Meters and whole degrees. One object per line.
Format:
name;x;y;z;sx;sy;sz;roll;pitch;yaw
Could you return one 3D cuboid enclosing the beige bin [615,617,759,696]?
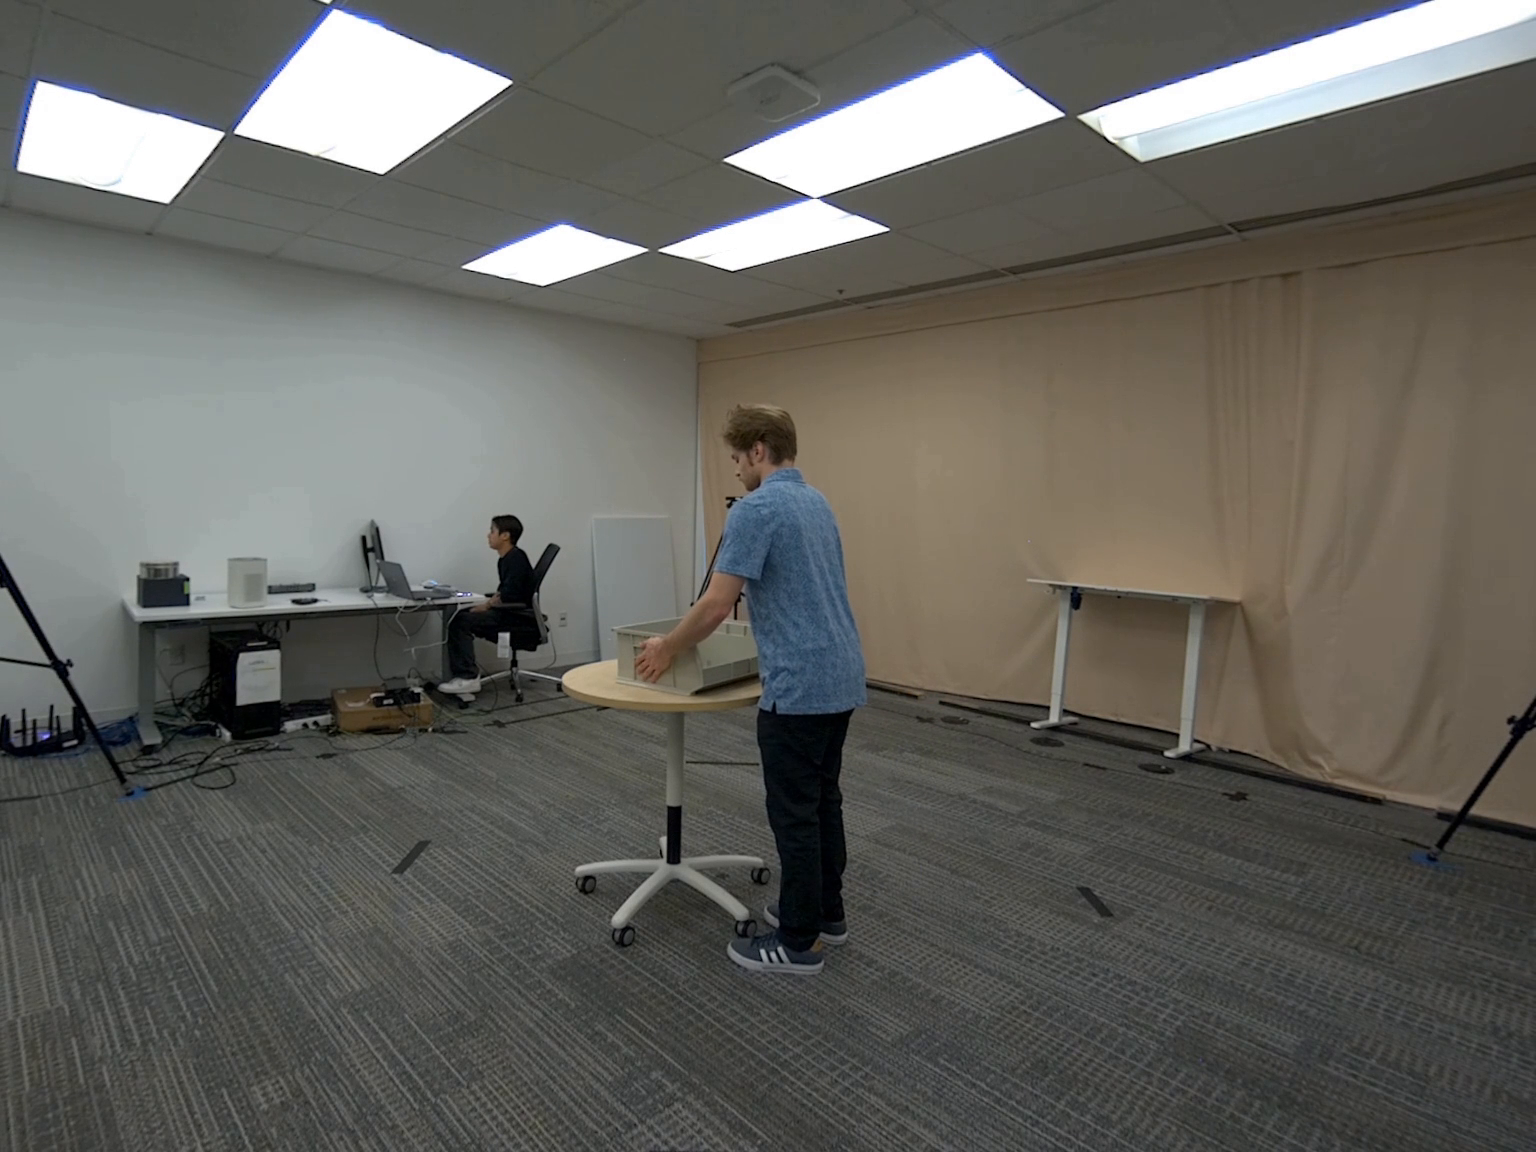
beige bin;-0.248;0.257;2.803;0.386;0.188;0.413;2;5;35
